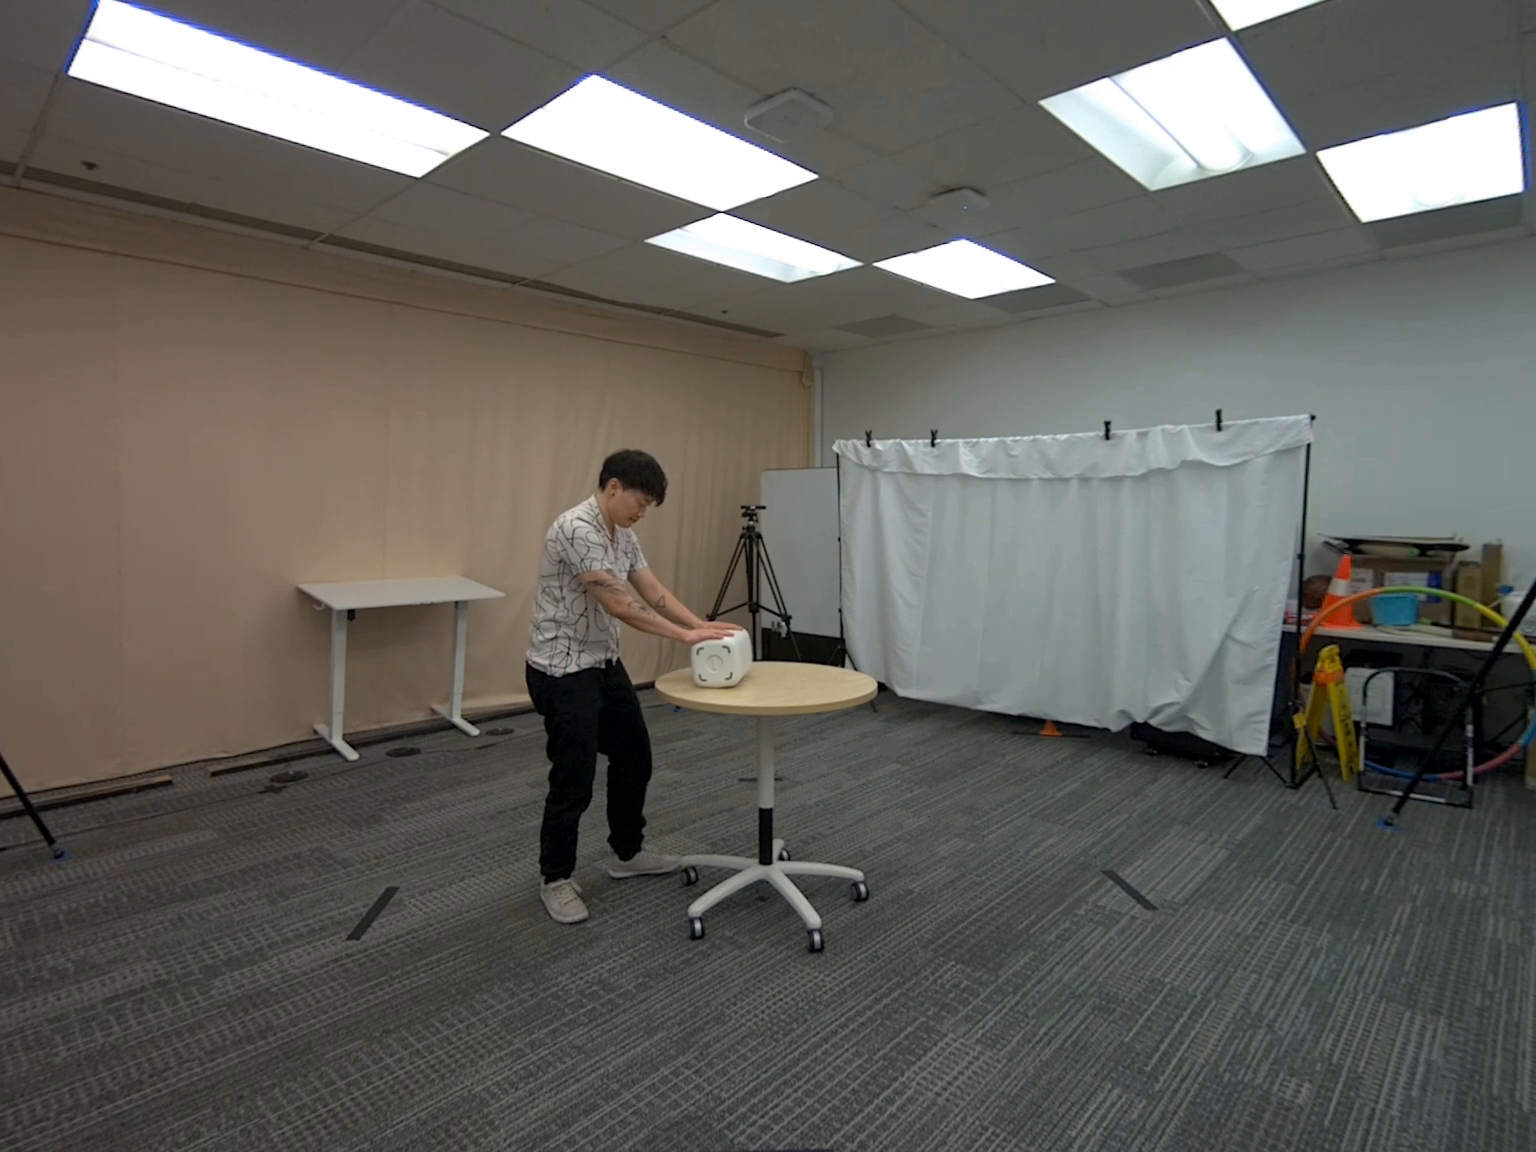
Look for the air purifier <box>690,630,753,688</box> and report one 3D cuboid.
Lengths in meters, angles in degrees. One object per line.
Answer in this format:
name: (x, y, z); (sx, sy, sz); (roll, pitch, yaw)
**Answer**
air purifier: (-0.151, 0.281, 2.910); (0.173, 0.171, 0.263); (-4, 3, 8)
